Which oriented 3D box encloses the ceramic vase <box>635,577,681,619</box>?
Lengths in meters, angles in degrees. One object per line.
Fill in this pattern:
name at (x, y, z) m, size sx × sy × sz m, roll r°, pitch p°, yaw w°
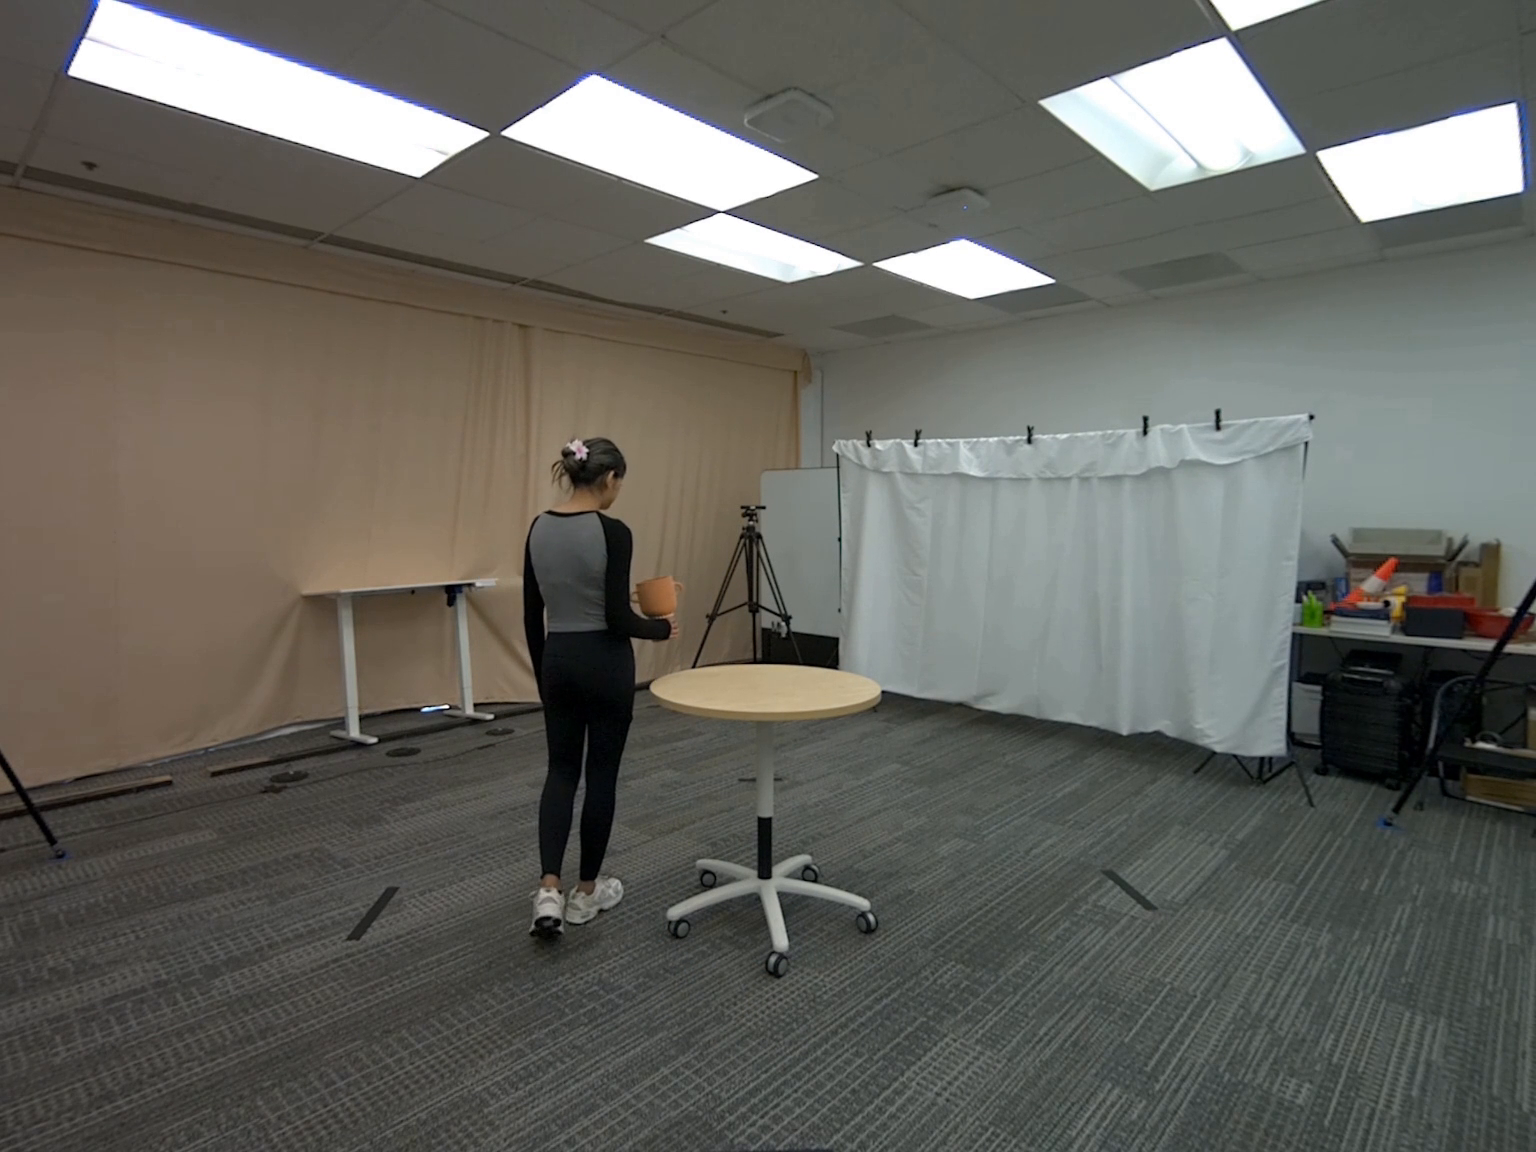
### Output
ceramic vase at (-0.391, 0.119, 3.014) m, size 0.162 × 0.220 × 0.132 m, roll -9°, pitch 0°, yaw 24°
